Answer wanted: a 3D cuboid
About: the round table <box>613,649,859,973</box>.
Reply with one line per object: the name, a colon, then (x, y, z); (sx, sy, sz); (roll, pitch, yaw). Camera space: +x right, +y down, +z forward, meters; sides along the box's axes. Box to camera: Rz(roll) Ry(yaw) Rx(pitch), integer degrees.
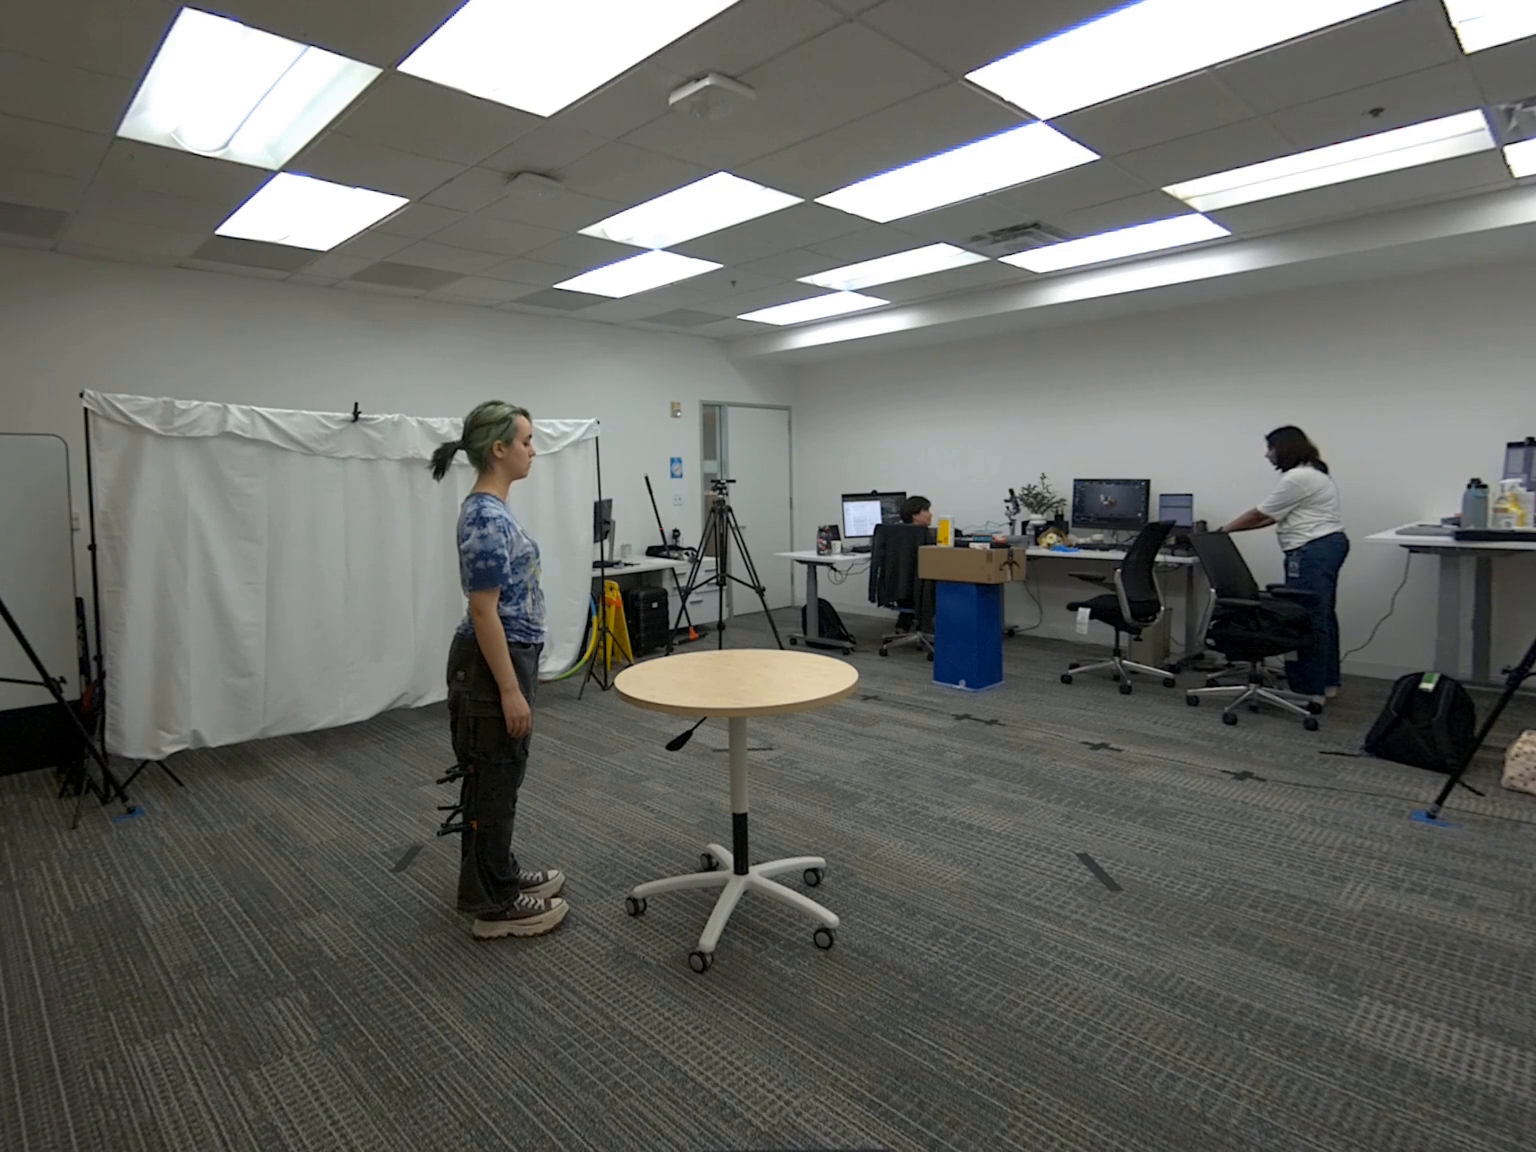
round table: (-0.091, 0.702, 2.733); (0.763, 0.791, 0.768); (-2, 5, -2)
